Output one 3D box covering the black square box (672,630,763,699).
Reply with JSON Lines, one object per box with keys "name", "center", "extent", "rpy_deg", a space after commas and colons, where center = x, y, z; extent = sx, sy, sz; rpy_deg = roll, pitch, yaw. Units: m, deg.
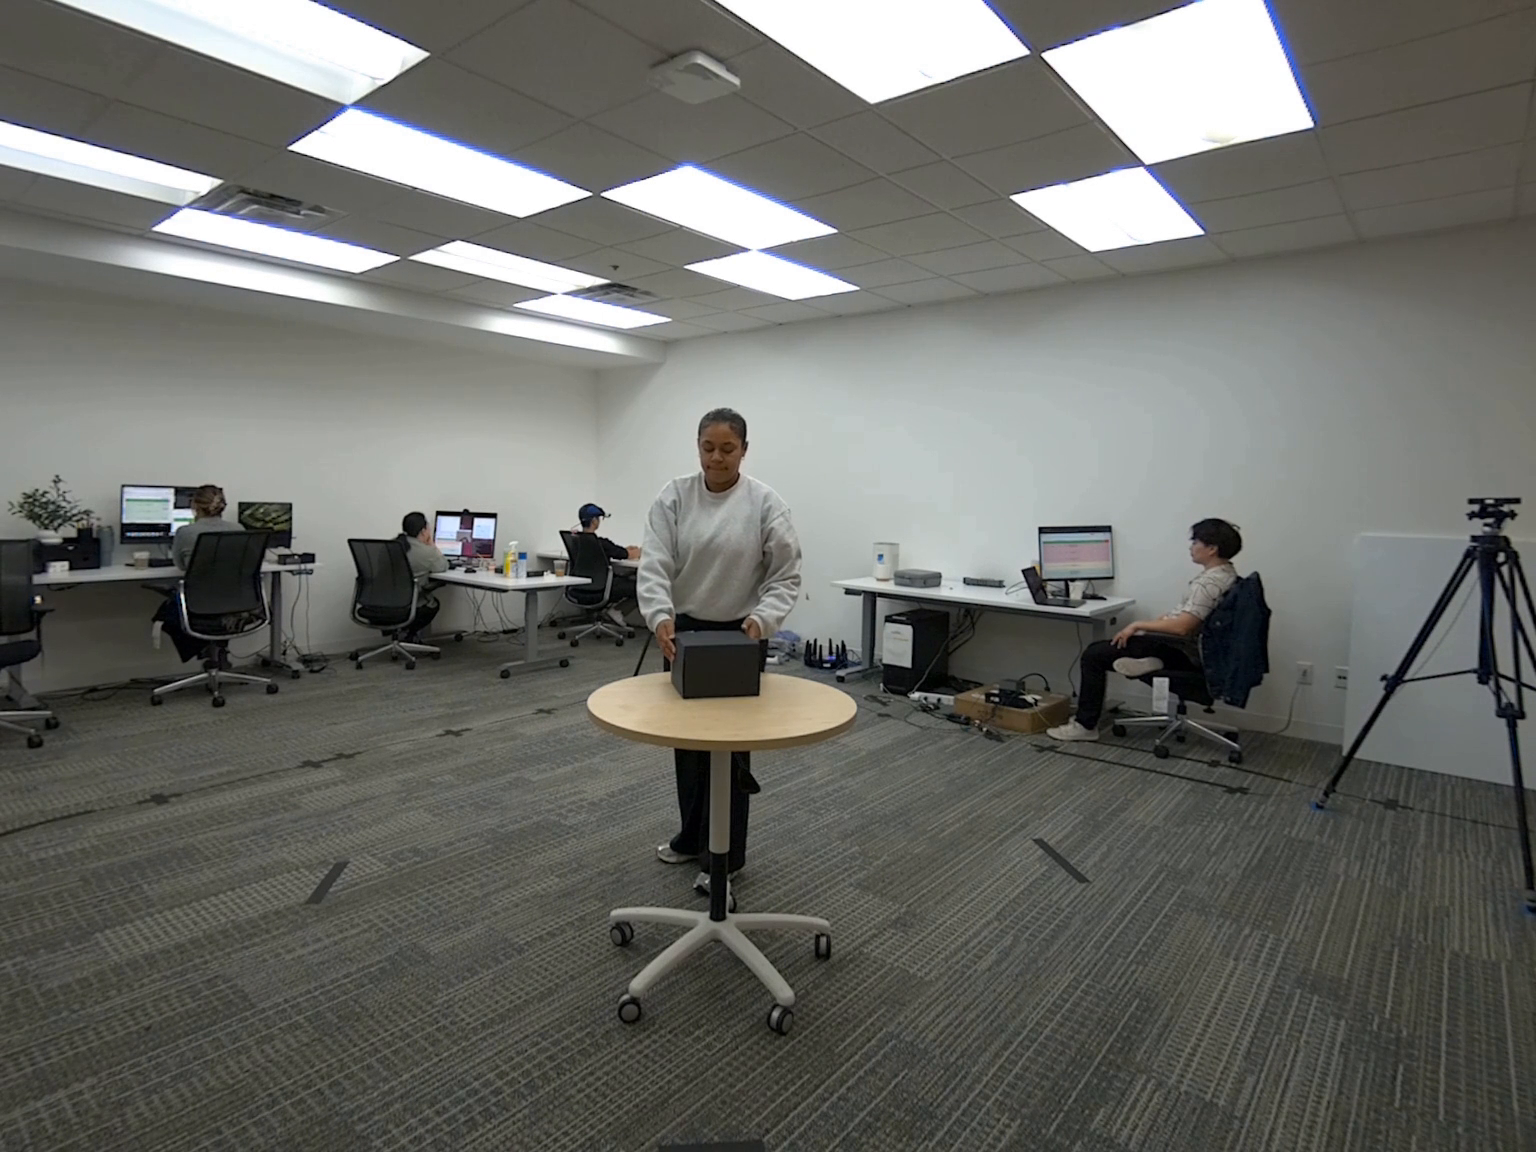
{"name": "black square box", "center": [-0.164, 0.255, 2.556], "extent": [0.225, 0.155, 0.221], "rpy_deg": [1, 5, -14]}
